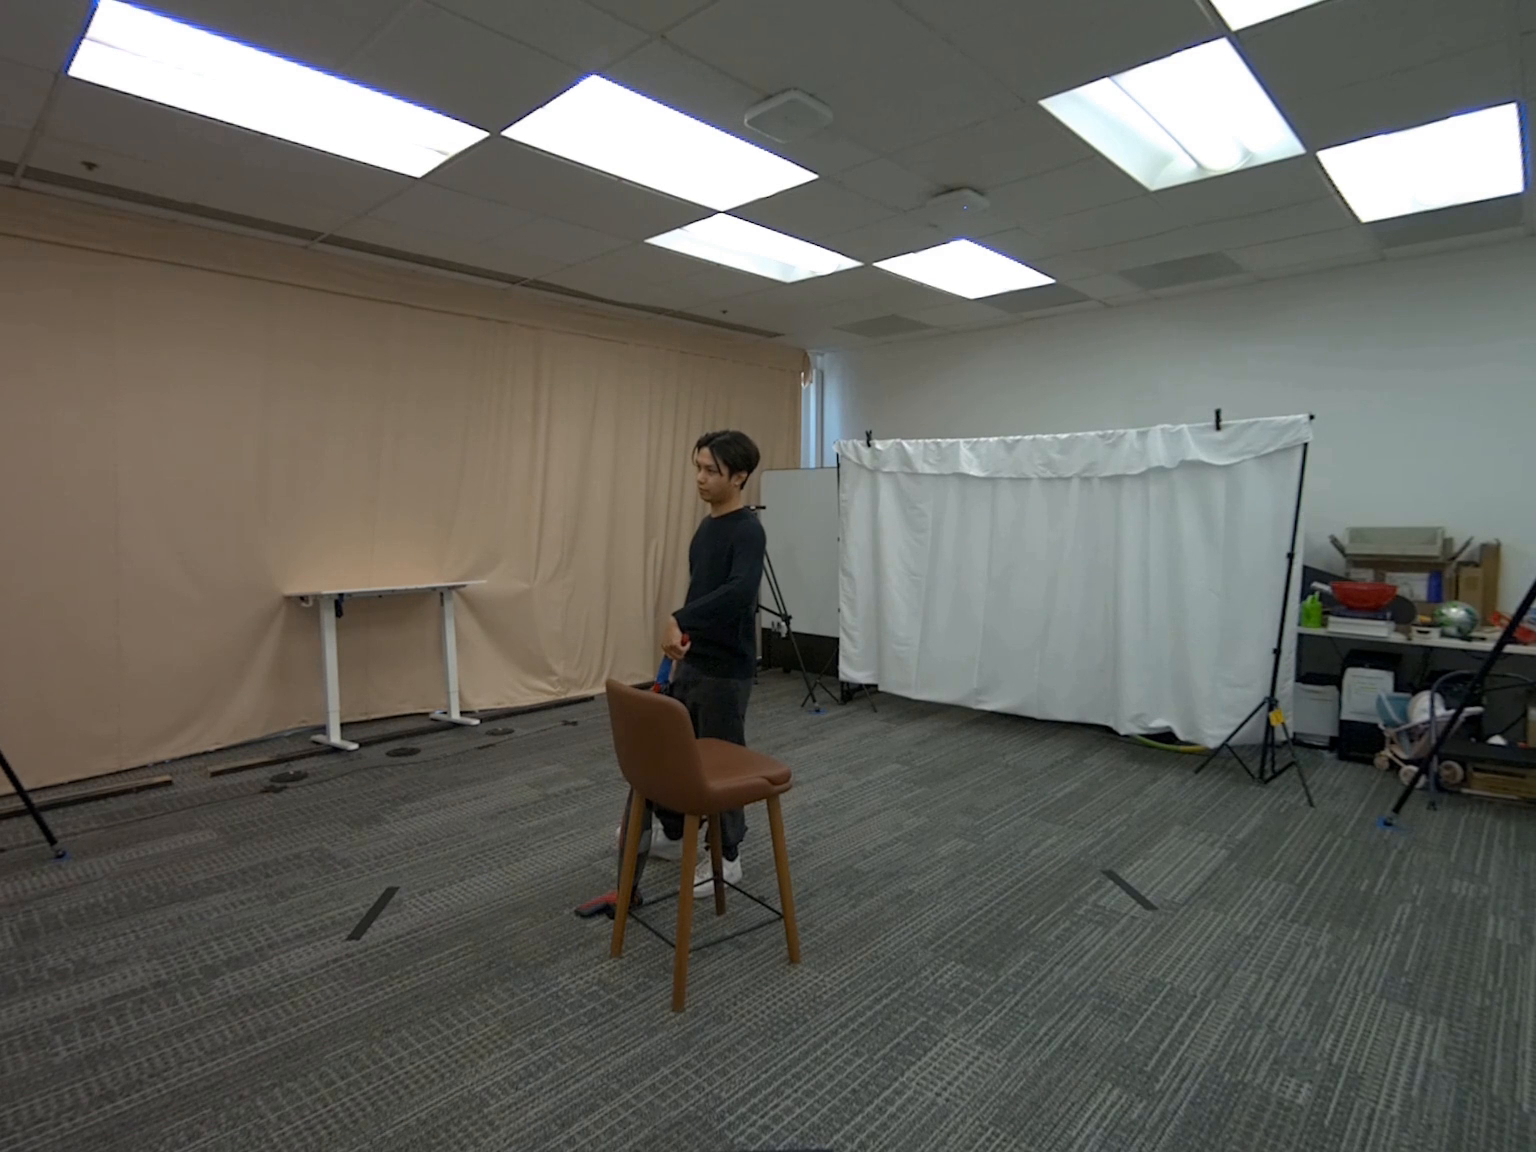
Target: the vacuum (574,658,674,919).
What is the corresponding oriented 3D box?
[{"bbox_3d":[-0.410,0.662,2.777,0.245,1.043,0.149,-3,24,-46],"label":"vacuum"}]
